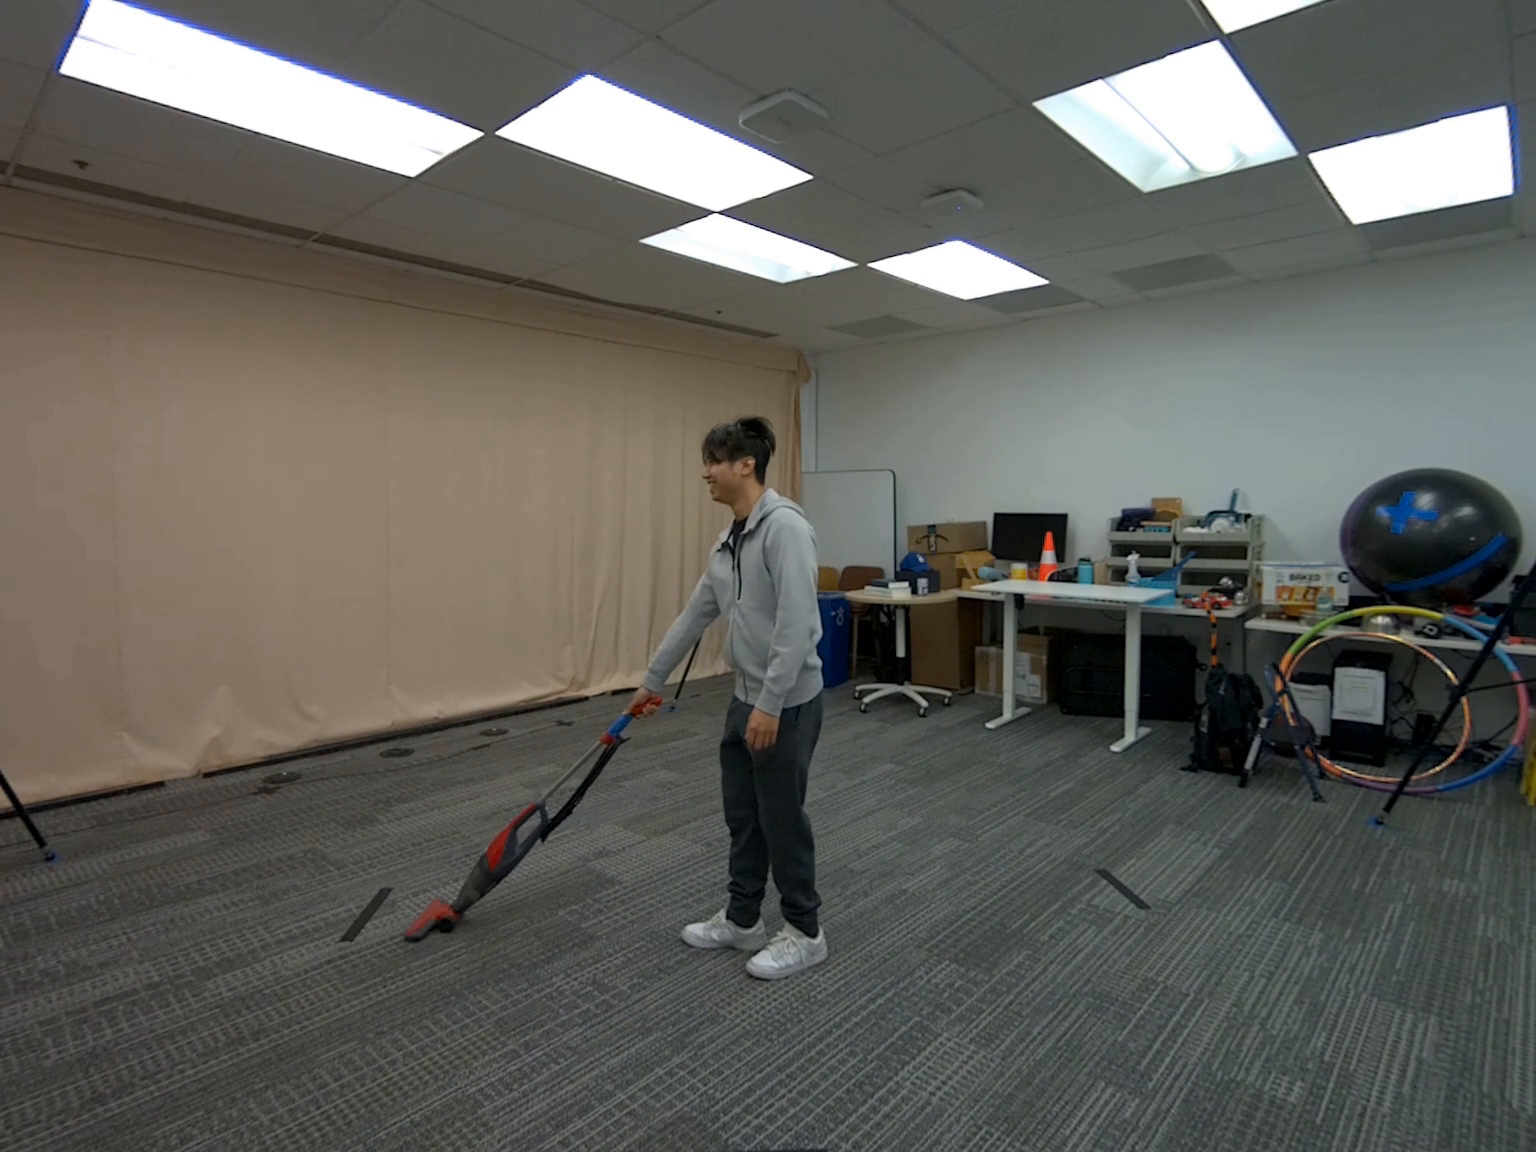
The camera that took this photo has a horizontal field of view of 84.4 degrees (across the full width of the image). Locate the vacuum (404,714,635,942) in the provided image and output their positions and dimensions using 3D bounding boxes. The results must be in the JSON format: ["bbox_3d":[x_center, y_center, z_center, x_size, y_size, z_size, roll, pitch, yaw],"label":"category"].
[{"bbox_3d":[-0.729,0.787,2.793,1.050,0.144,0.252,-44,0,3],"label":"vacuum"}]
